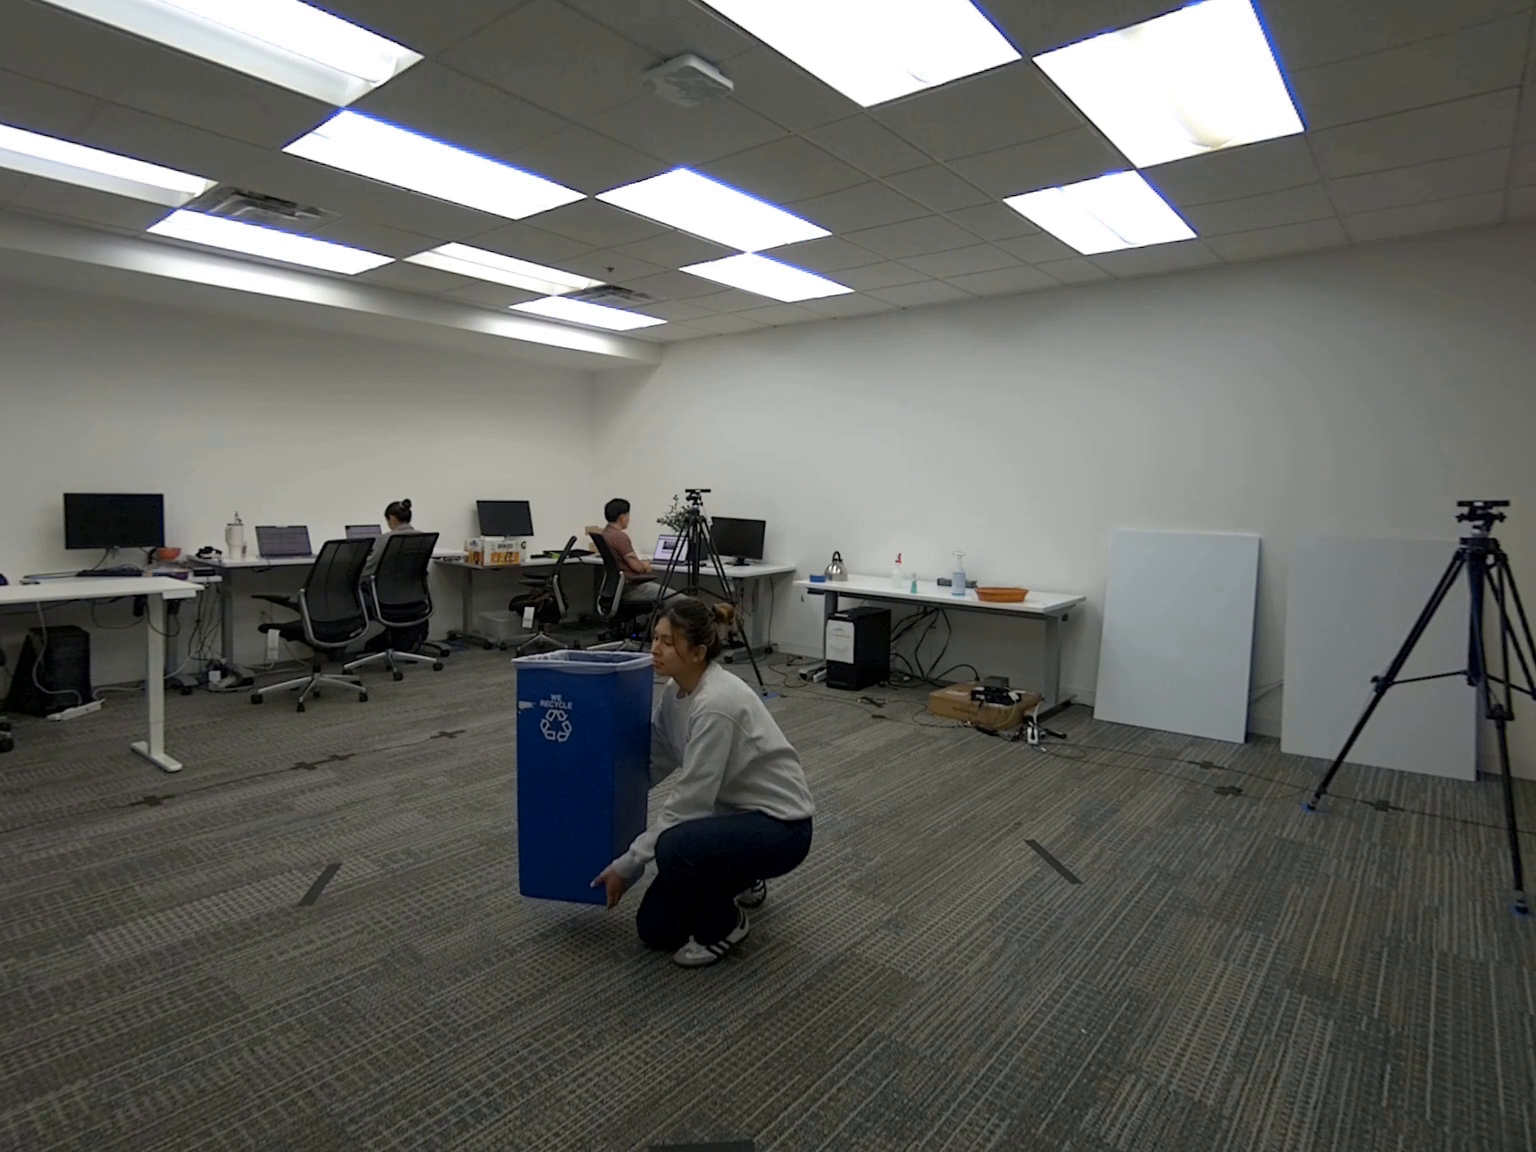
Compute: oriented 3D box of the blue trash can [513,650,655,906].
[{"bbox_3d":[-0.583,0.612,2.696,0.380,0.716,0.371,-1,-3,15],"label":"blue trash can"}]
